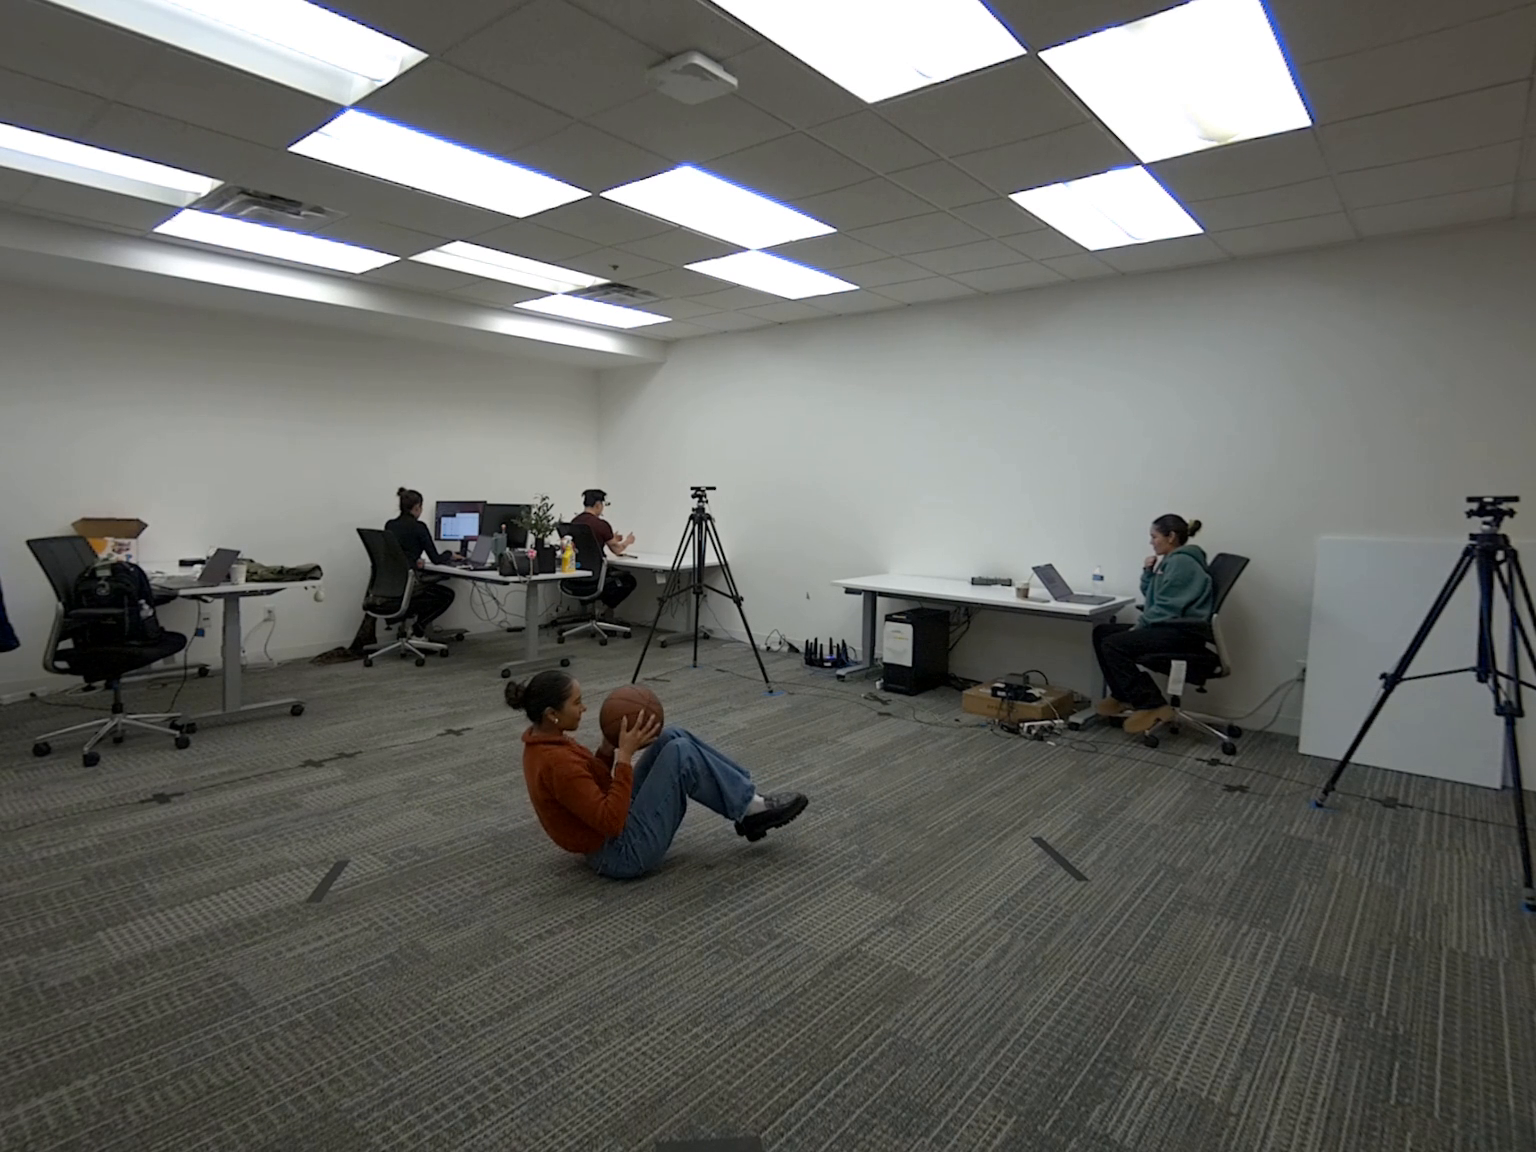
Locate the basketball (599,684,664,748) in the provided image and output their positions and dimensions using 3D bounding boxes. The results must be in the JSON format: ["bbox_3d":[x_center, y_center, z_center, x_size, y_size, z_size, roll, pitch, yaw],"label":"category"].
[{"bbox_3d":[-0.526,0.540,3.110,0.235,0.235,0.237,1,4,-2],"label":"basketball"}]
